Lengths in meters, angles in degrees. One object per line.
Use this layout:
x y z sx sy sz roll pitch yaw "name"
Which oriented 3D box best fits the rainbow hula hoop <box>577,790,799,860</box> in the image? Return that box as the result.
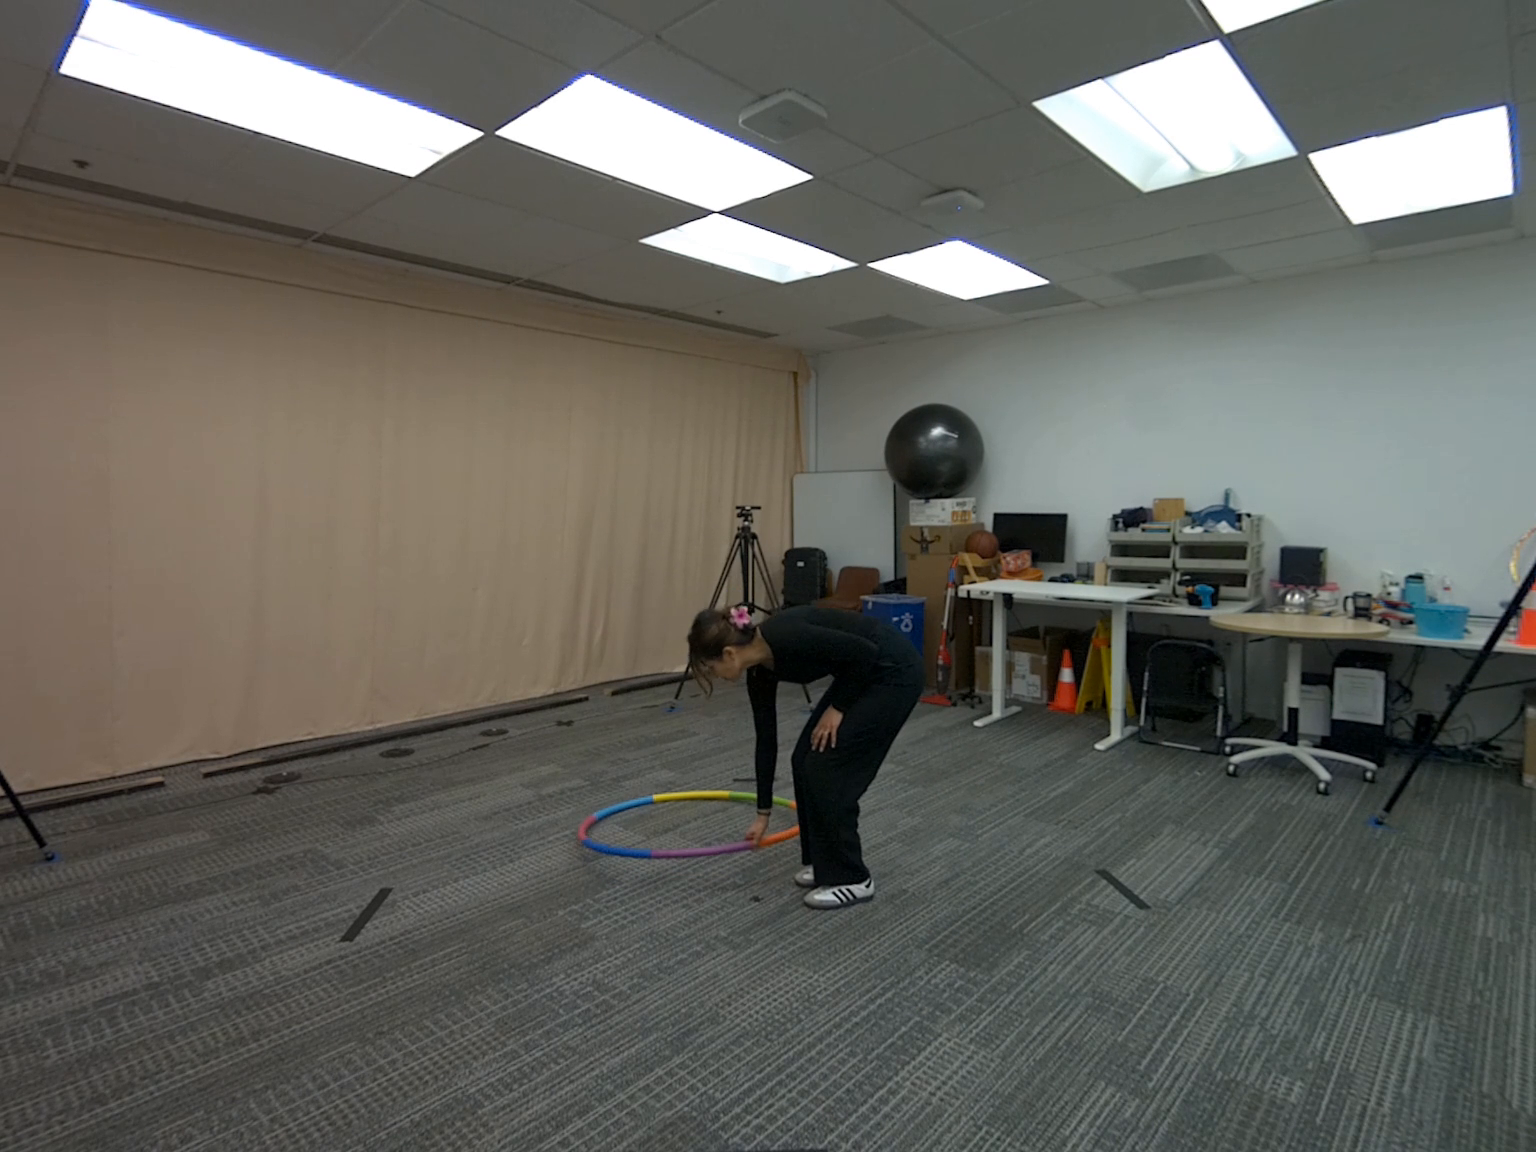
-0.307 1.014 3.544 0.978 0.035 0.978 -3 -2 -2 "rainbow hula hoop"
